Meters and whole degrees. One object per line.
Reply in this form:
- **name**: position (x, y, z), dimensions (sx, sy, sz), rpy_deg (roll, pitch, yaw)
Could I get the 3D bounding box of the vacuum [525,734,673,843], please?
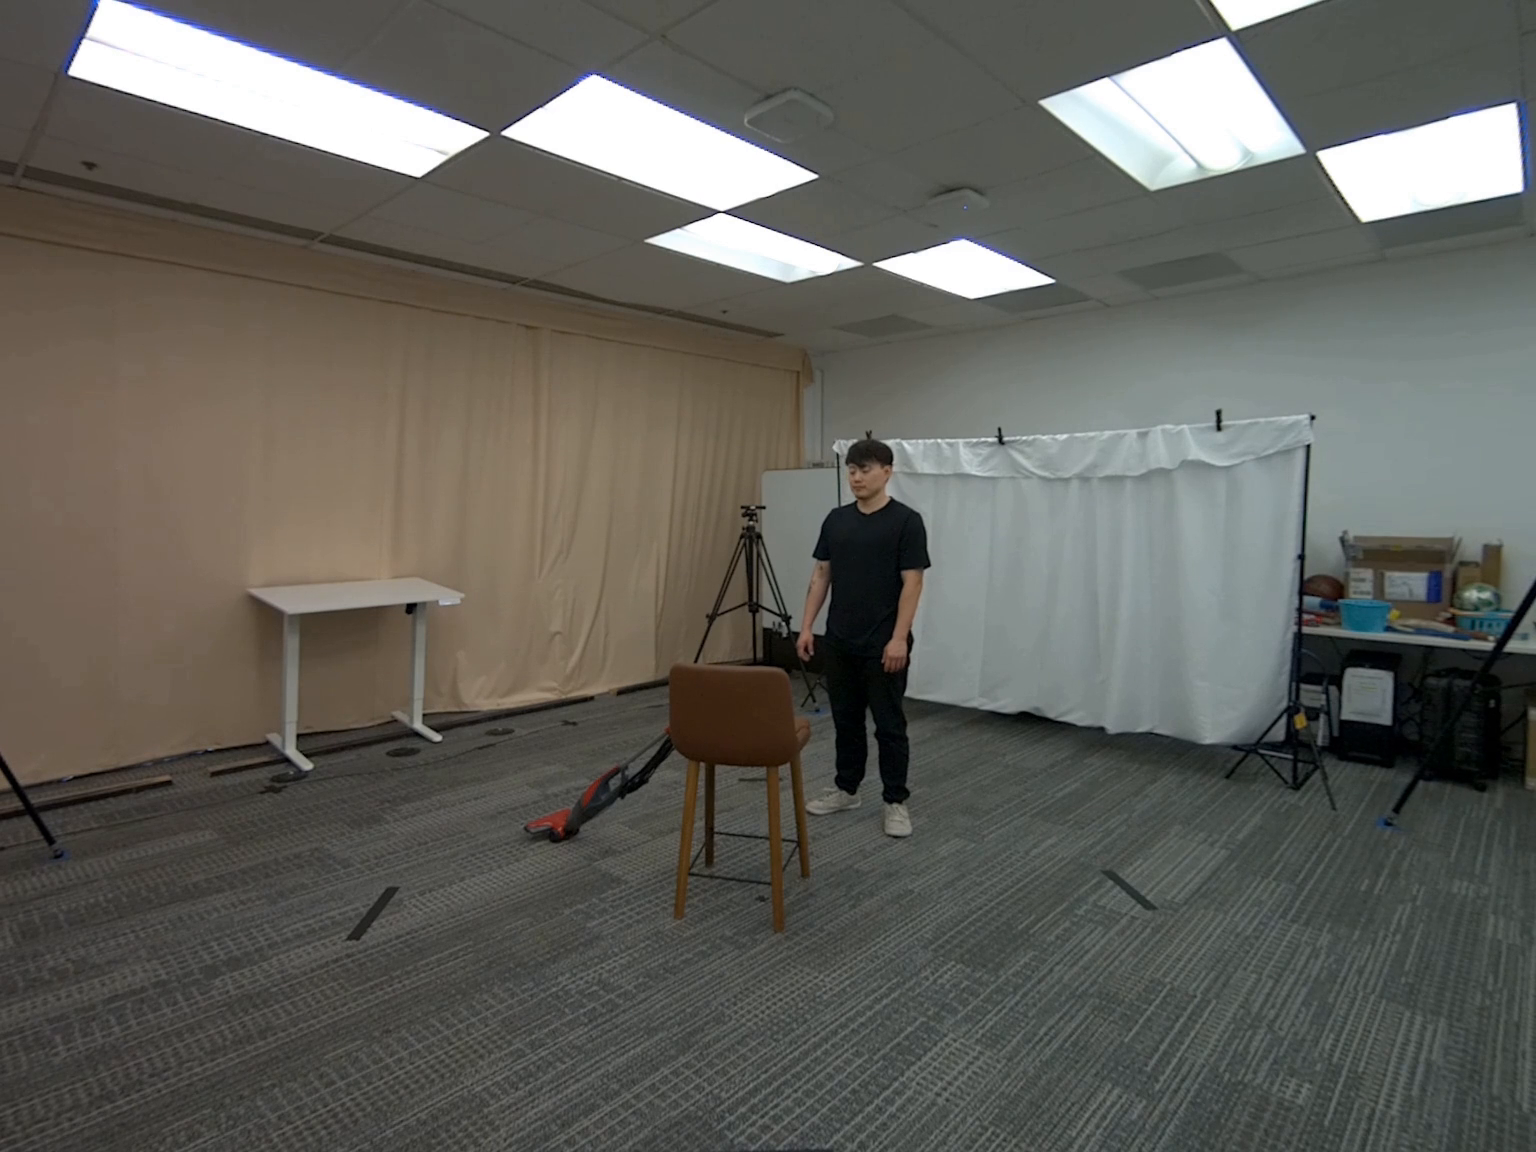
- **vacuum**: position (-0.573, 0.794, 3.311), dimensions (1.061, 0.146, 0.246), rpy_deg (-39, -16, 32)
